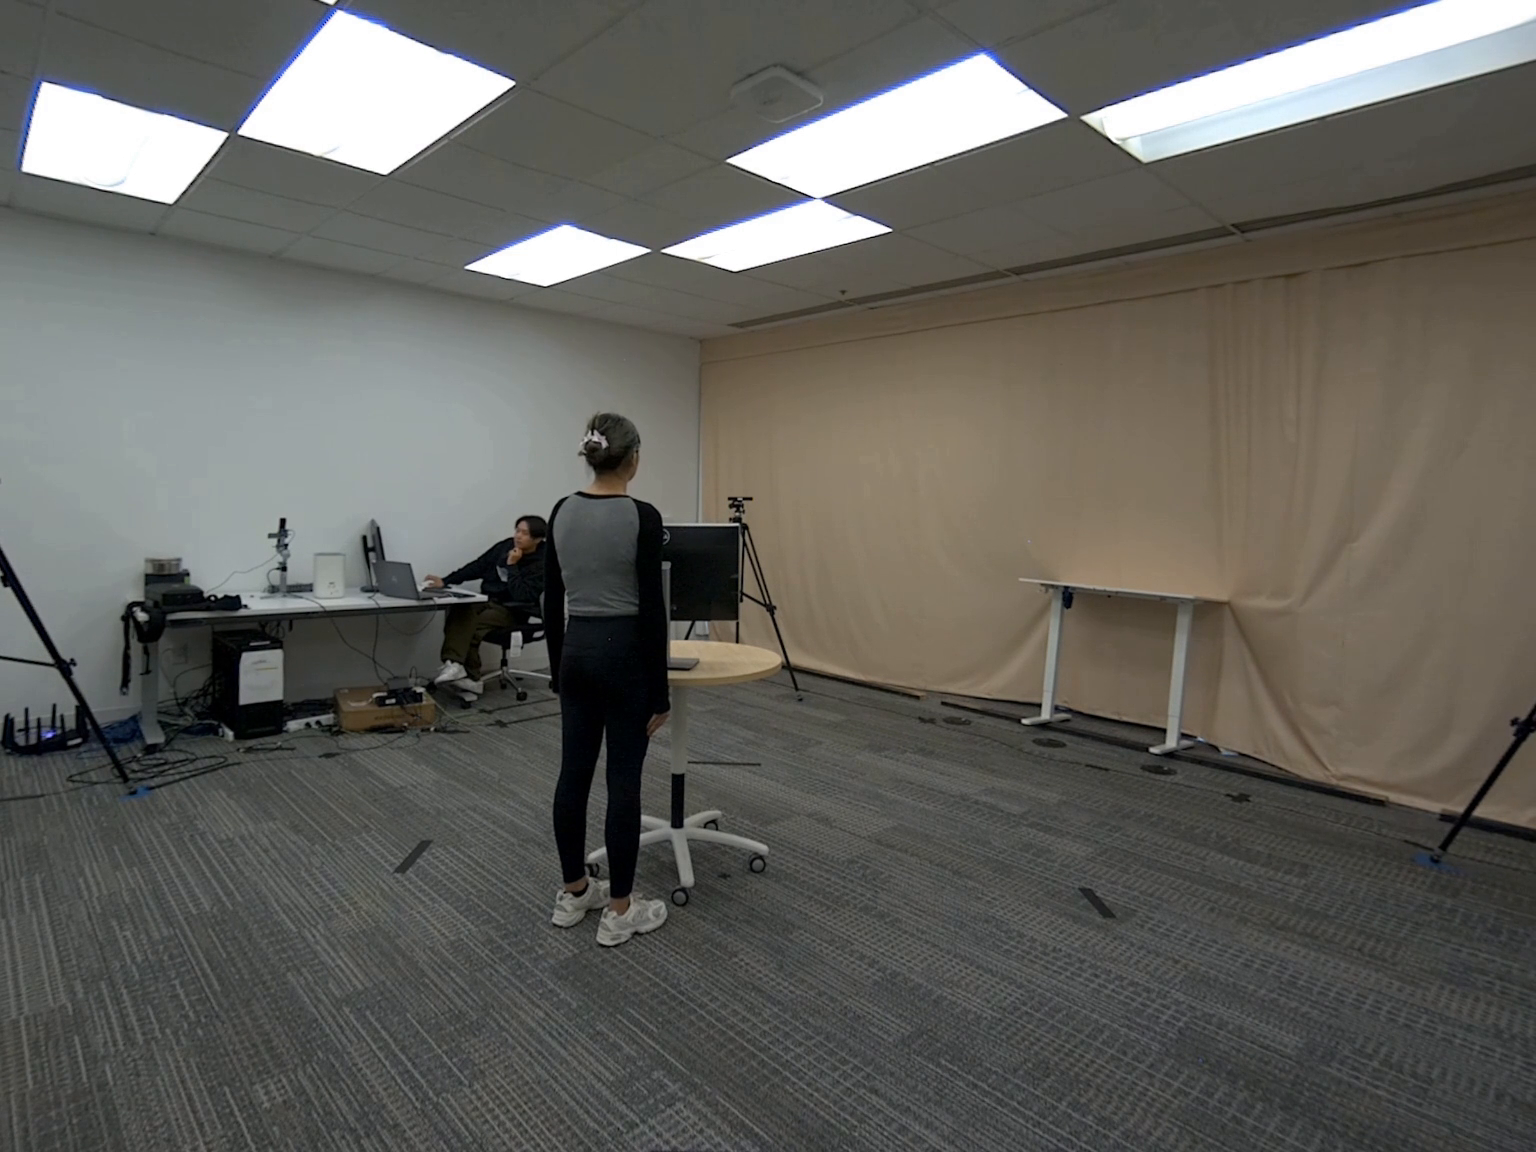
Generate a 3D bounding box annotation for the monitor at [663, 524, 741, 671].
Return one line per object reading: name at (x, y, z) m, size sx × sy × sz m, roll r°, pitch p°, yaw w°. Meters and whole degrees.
monitor at (-0.382, 0.071, 3.006) m, size 0.538 × 0.522 × 0.187 m, roll 0°, pitch 0°, yaw -2°
